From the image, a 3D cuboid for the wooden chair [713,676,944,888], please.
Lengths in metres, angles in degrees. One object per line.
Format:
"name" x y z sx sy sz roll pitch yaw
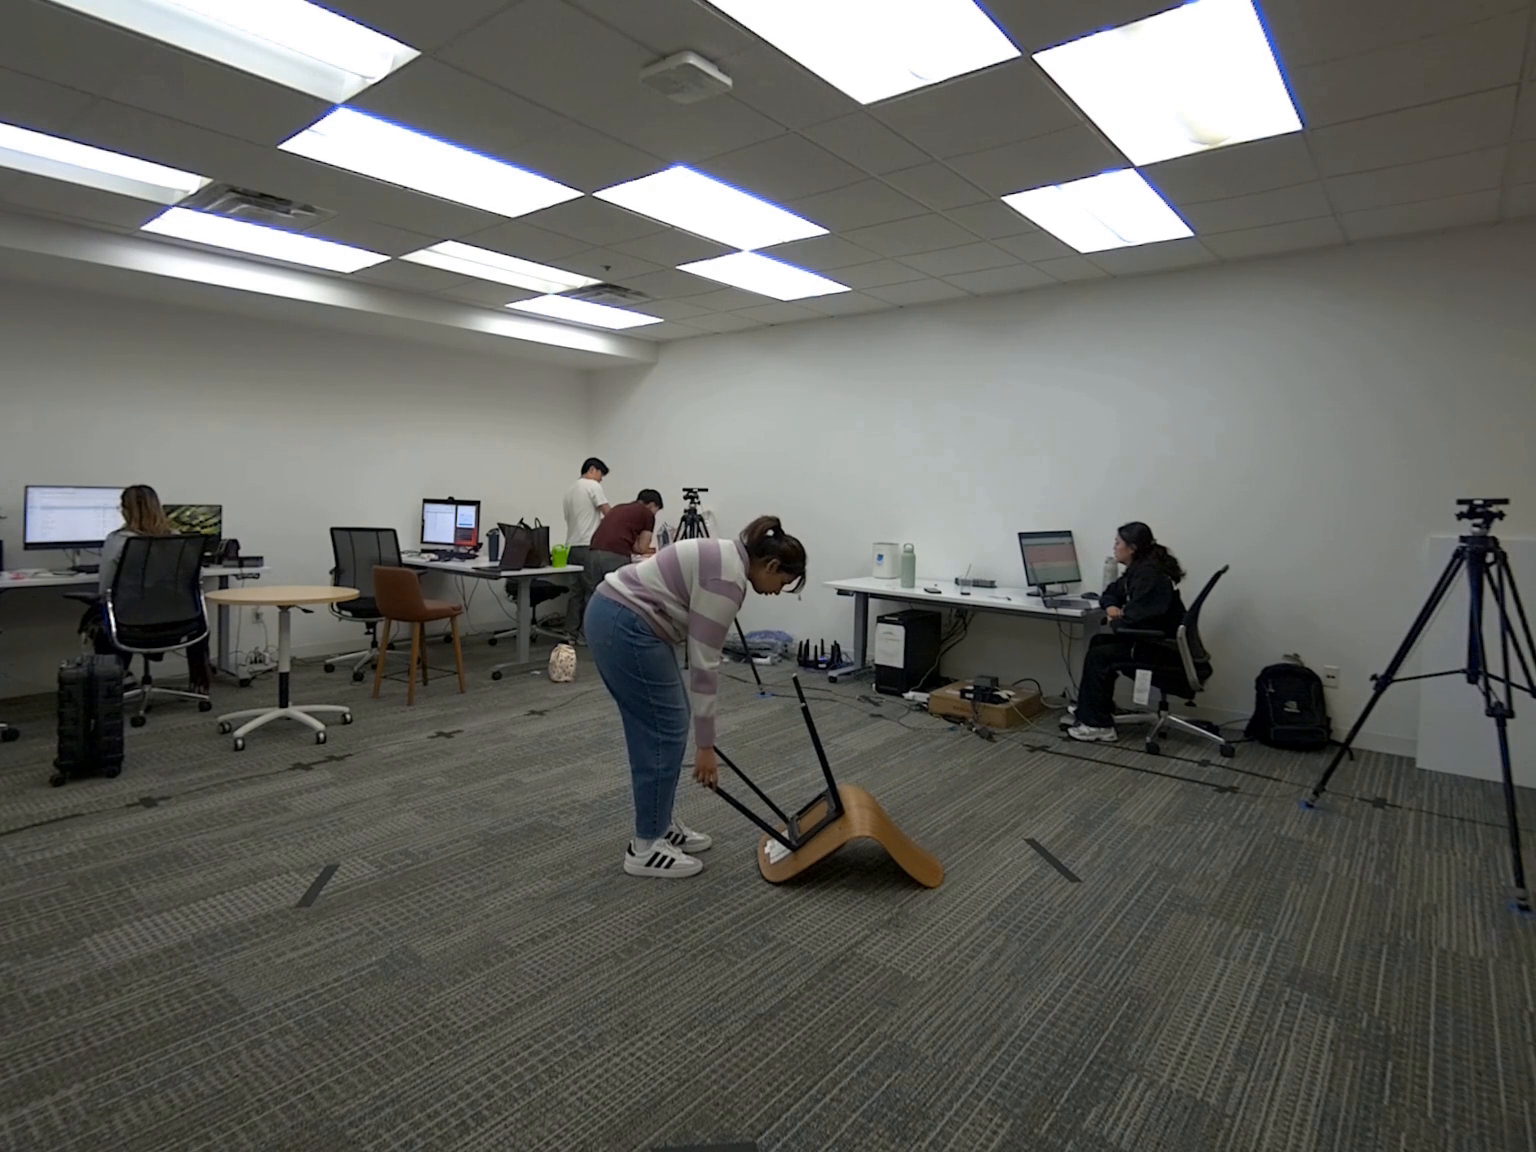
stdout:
"wooden chair" 0.163 0.900 3.178 0.523 0.875 0.479 -38 3 3
